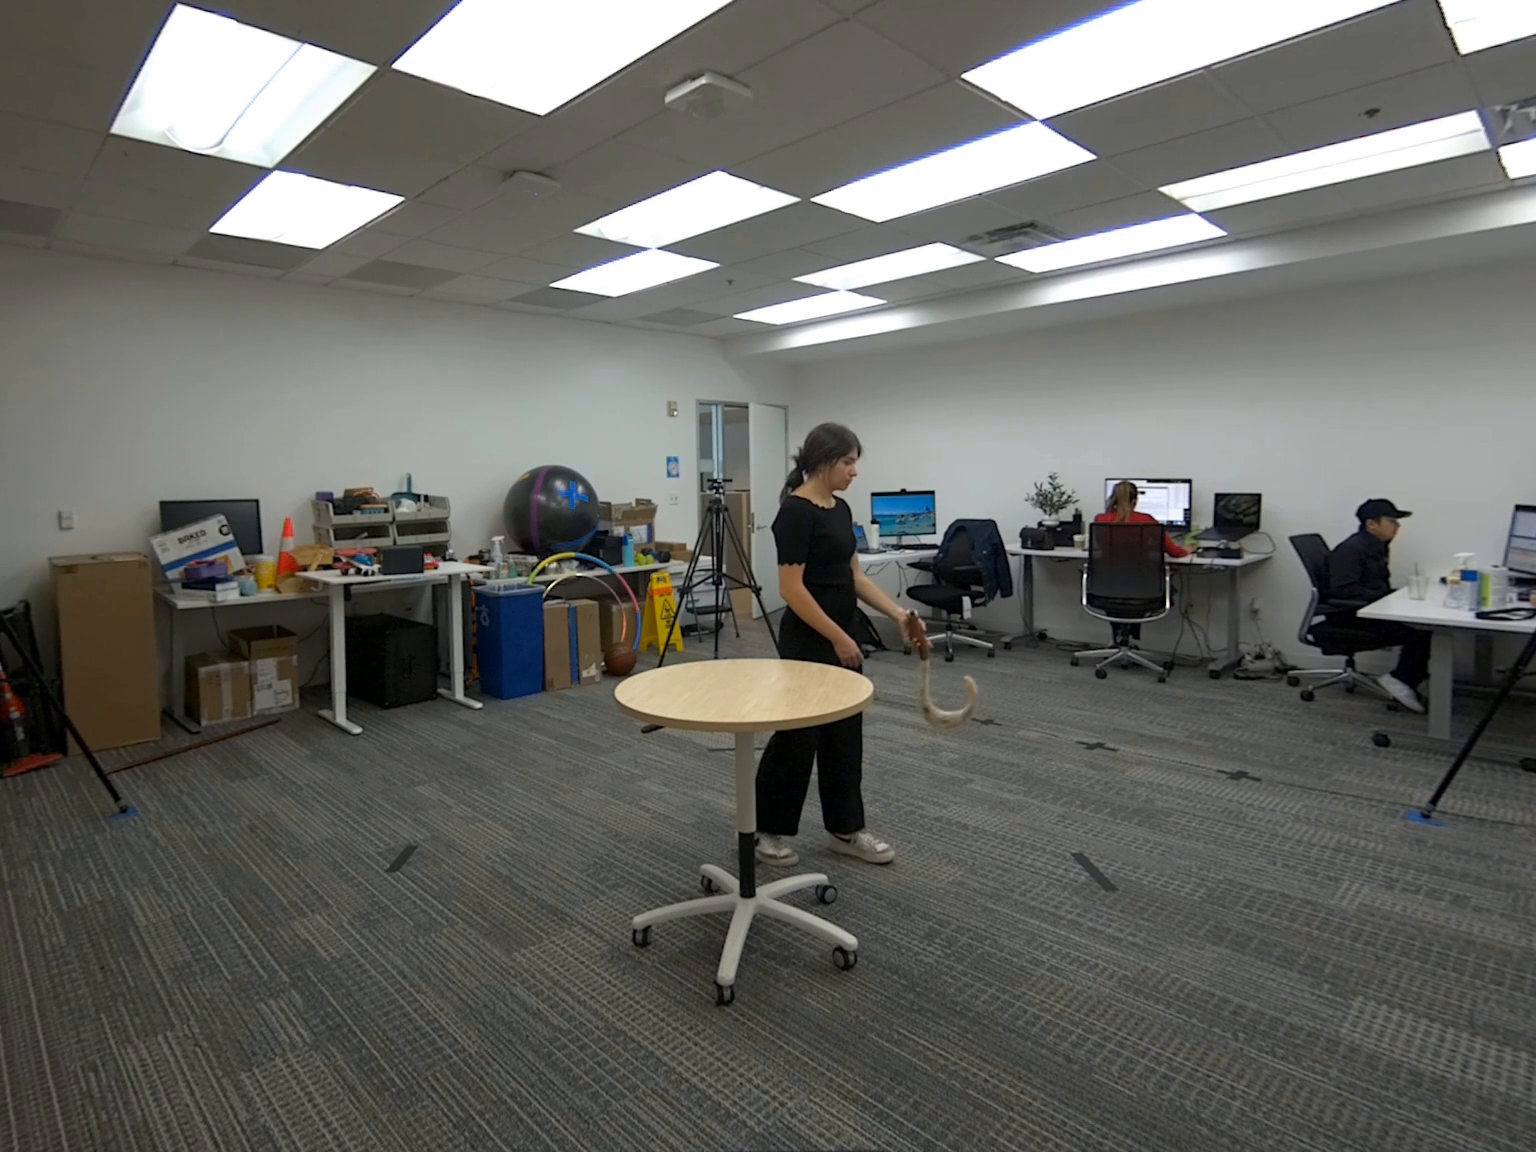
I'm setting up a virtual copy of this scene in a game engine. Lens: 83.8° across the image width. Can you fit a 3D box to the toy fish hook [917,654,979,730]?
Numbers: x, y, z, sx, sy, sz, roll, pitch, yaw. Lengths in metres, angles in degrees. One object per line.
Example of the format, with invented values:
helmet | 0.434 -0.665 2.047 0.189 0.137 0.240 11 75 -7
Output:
toy fish hook | 0.639 0.308 3.184 0.226 0.498 0.049 -13 15 7
